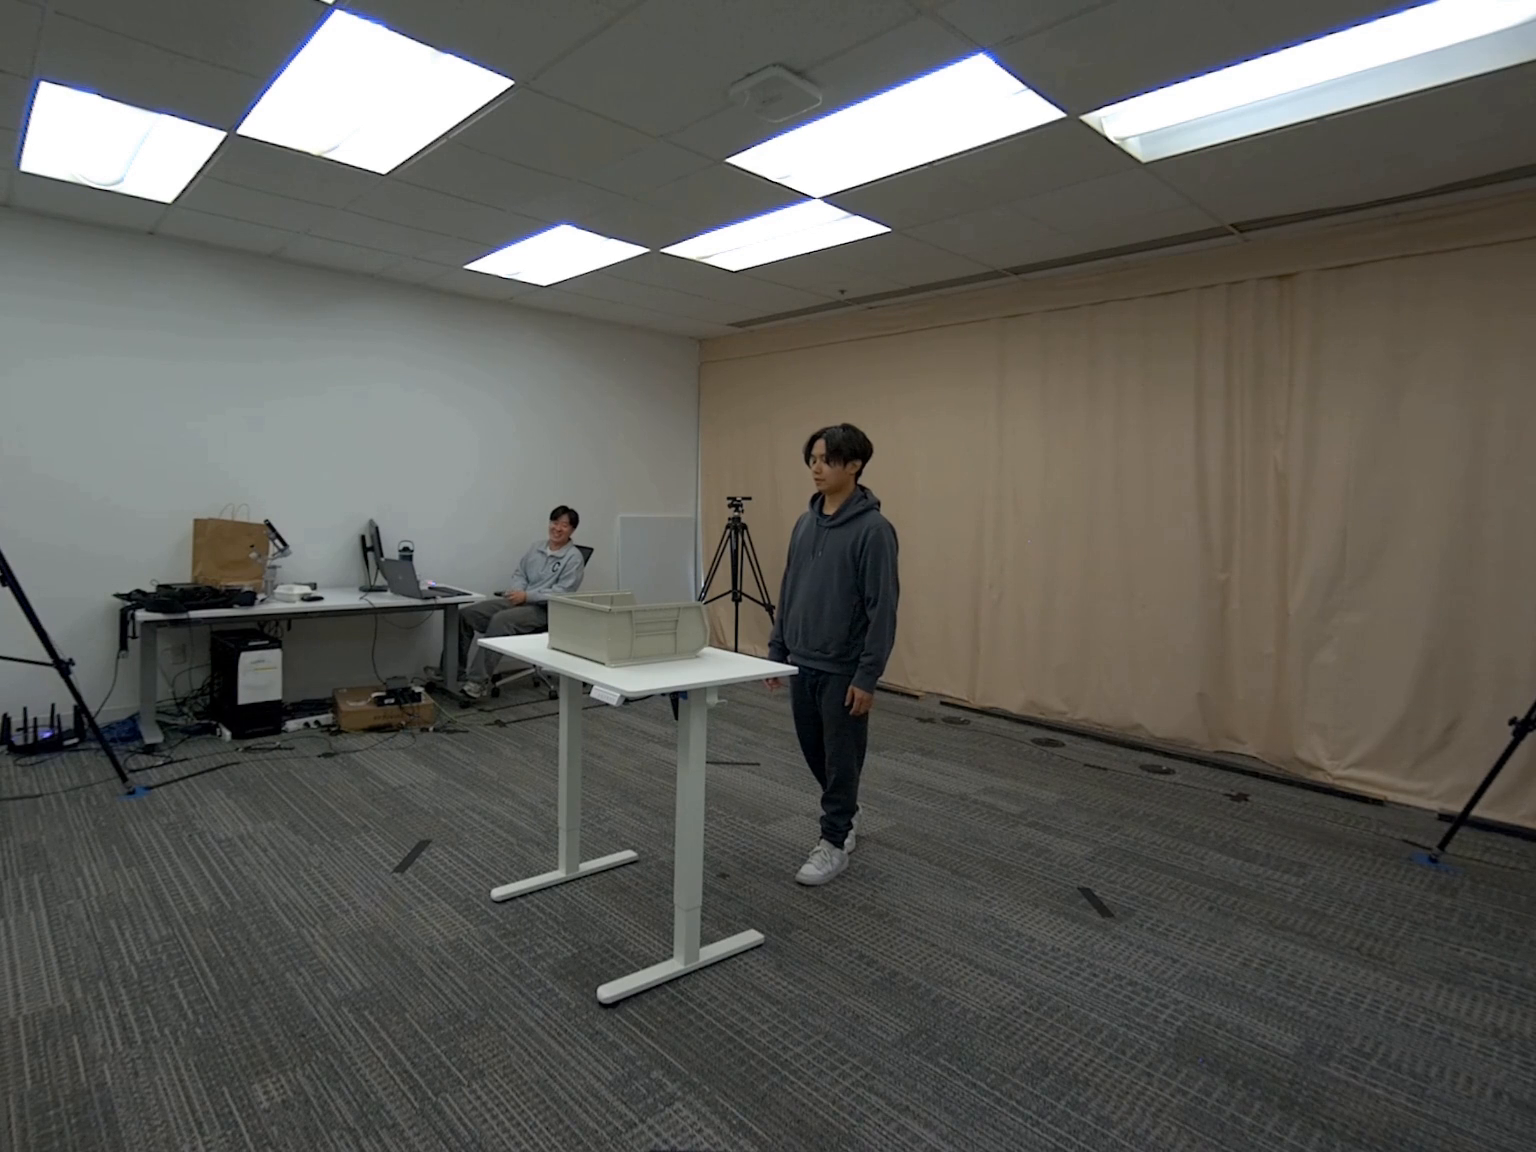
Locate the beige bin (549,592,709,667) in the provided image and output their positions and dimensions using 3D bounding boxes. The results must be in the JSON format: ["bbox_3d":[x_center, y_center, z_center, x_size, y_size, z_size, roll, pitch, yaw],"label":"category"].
[{"bbox_3d":[-0.470,0.163,2.724,0.369,0.188,0.433,-3,6,-40],"label":"beige bin"}]
